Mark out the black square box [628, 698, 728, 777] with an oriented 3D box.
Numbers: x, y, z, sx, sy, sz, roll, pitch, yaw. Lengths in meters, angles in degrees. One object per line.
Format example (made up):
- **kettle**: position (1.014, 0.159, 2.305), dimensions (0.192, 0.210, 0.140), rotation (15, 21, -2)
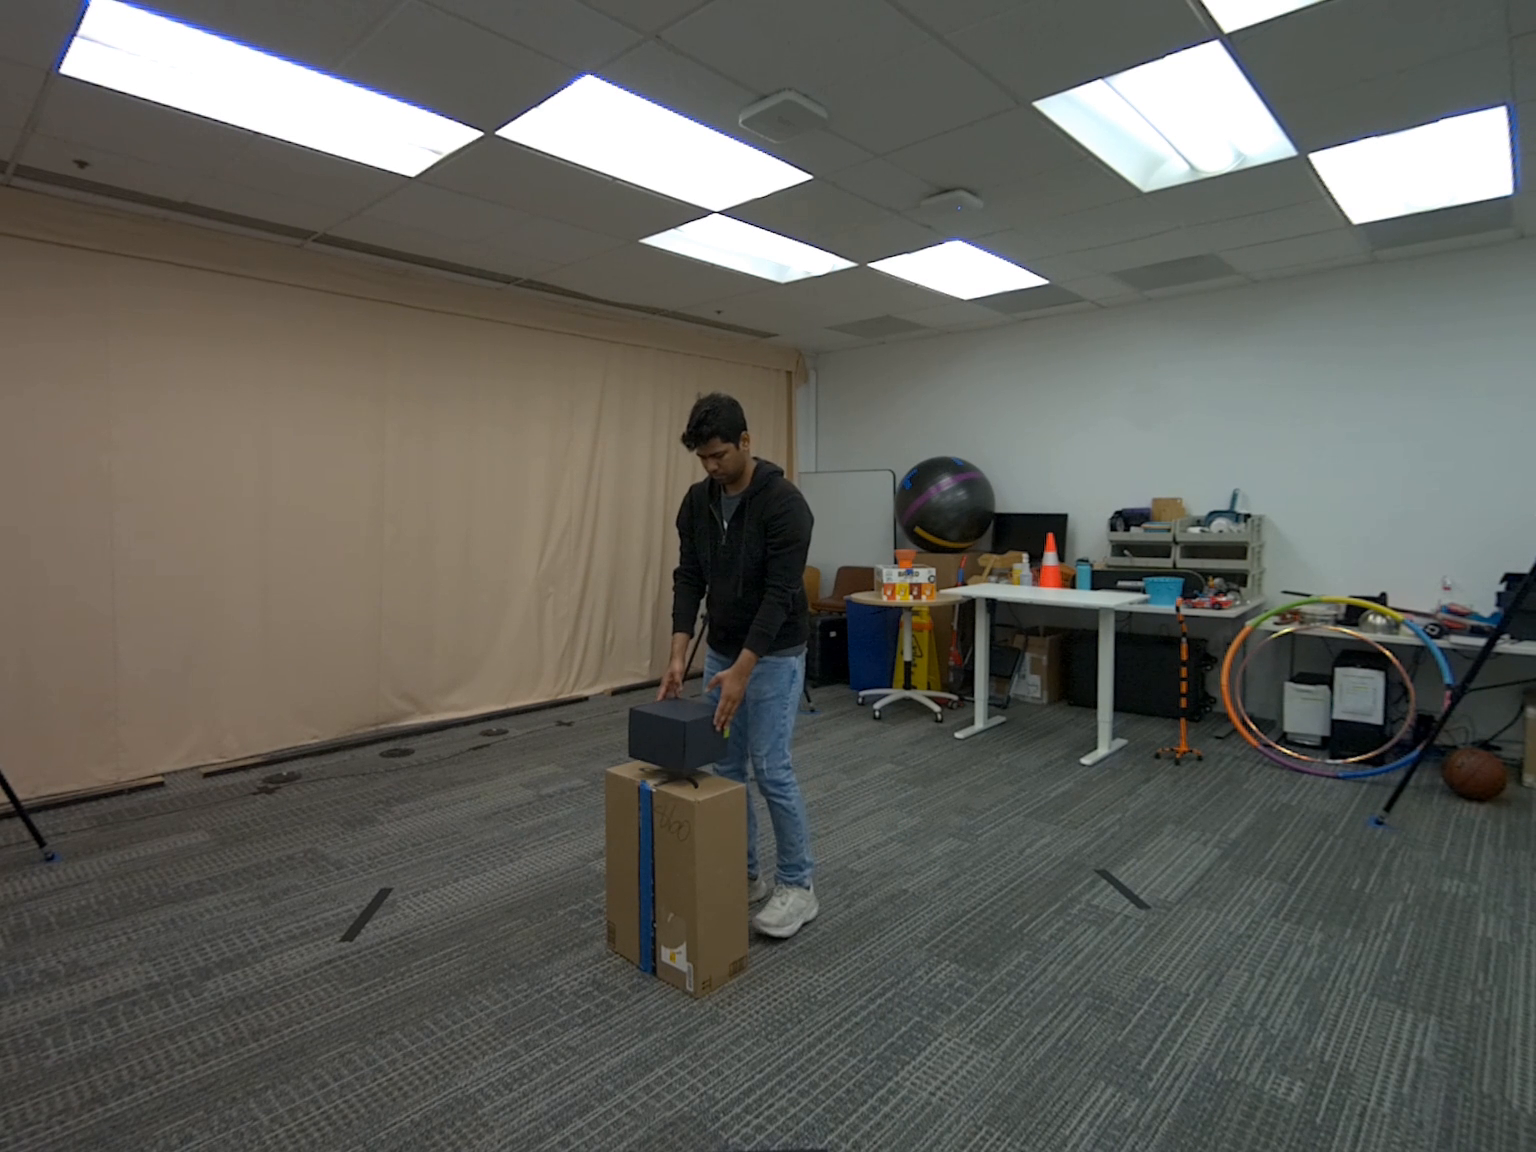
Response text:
- **black square box**: position (-0.265, 0.491, 2.596), dimensions (0.235, 0.155, 0.210), rotation (5, 5, 36)
